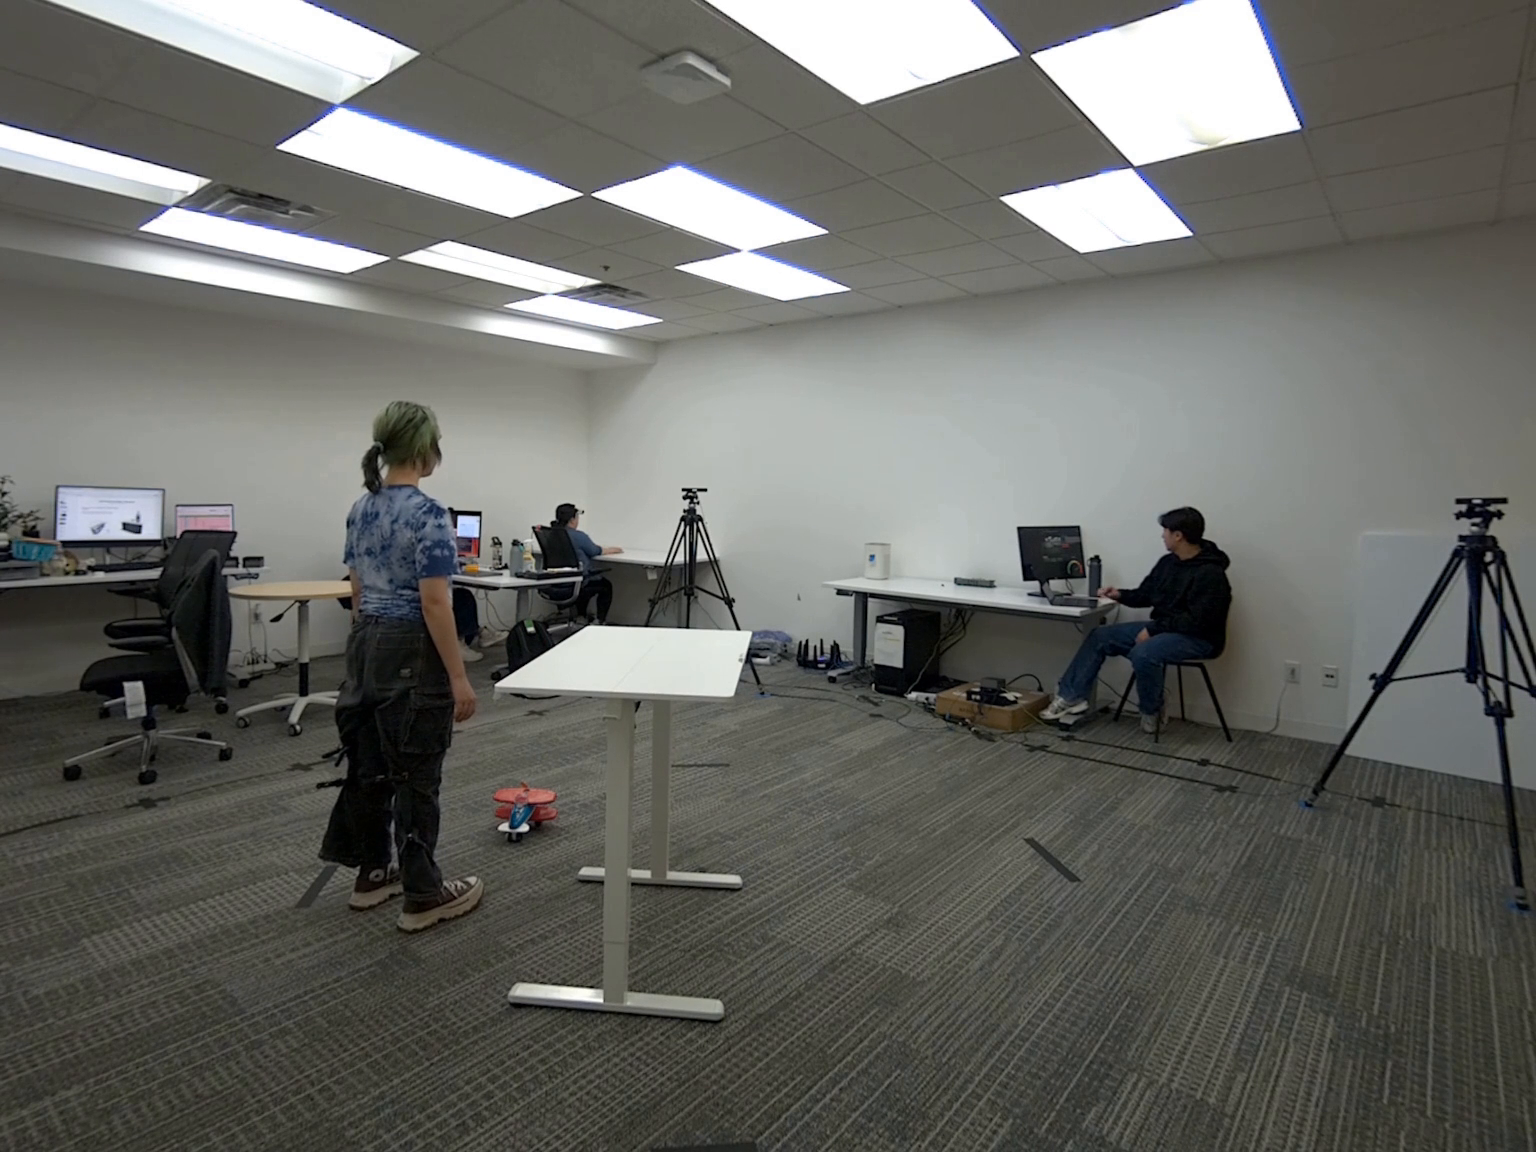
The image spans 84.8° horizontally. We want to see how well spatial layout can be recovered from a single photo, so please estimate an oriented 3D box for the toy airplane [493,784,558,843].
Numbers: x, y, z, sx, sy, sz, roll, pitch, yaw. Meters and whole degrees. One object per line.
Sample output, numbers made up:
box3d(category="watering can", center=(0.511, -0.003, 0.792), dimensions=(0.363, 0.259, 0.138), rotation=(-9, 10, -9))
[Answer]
box3d(category="toy airplane", center=(-0.983, 0.954, 3.419), dimensions=(0.245, 0.156, 0.266), rotation=(-1, 4, -25))
